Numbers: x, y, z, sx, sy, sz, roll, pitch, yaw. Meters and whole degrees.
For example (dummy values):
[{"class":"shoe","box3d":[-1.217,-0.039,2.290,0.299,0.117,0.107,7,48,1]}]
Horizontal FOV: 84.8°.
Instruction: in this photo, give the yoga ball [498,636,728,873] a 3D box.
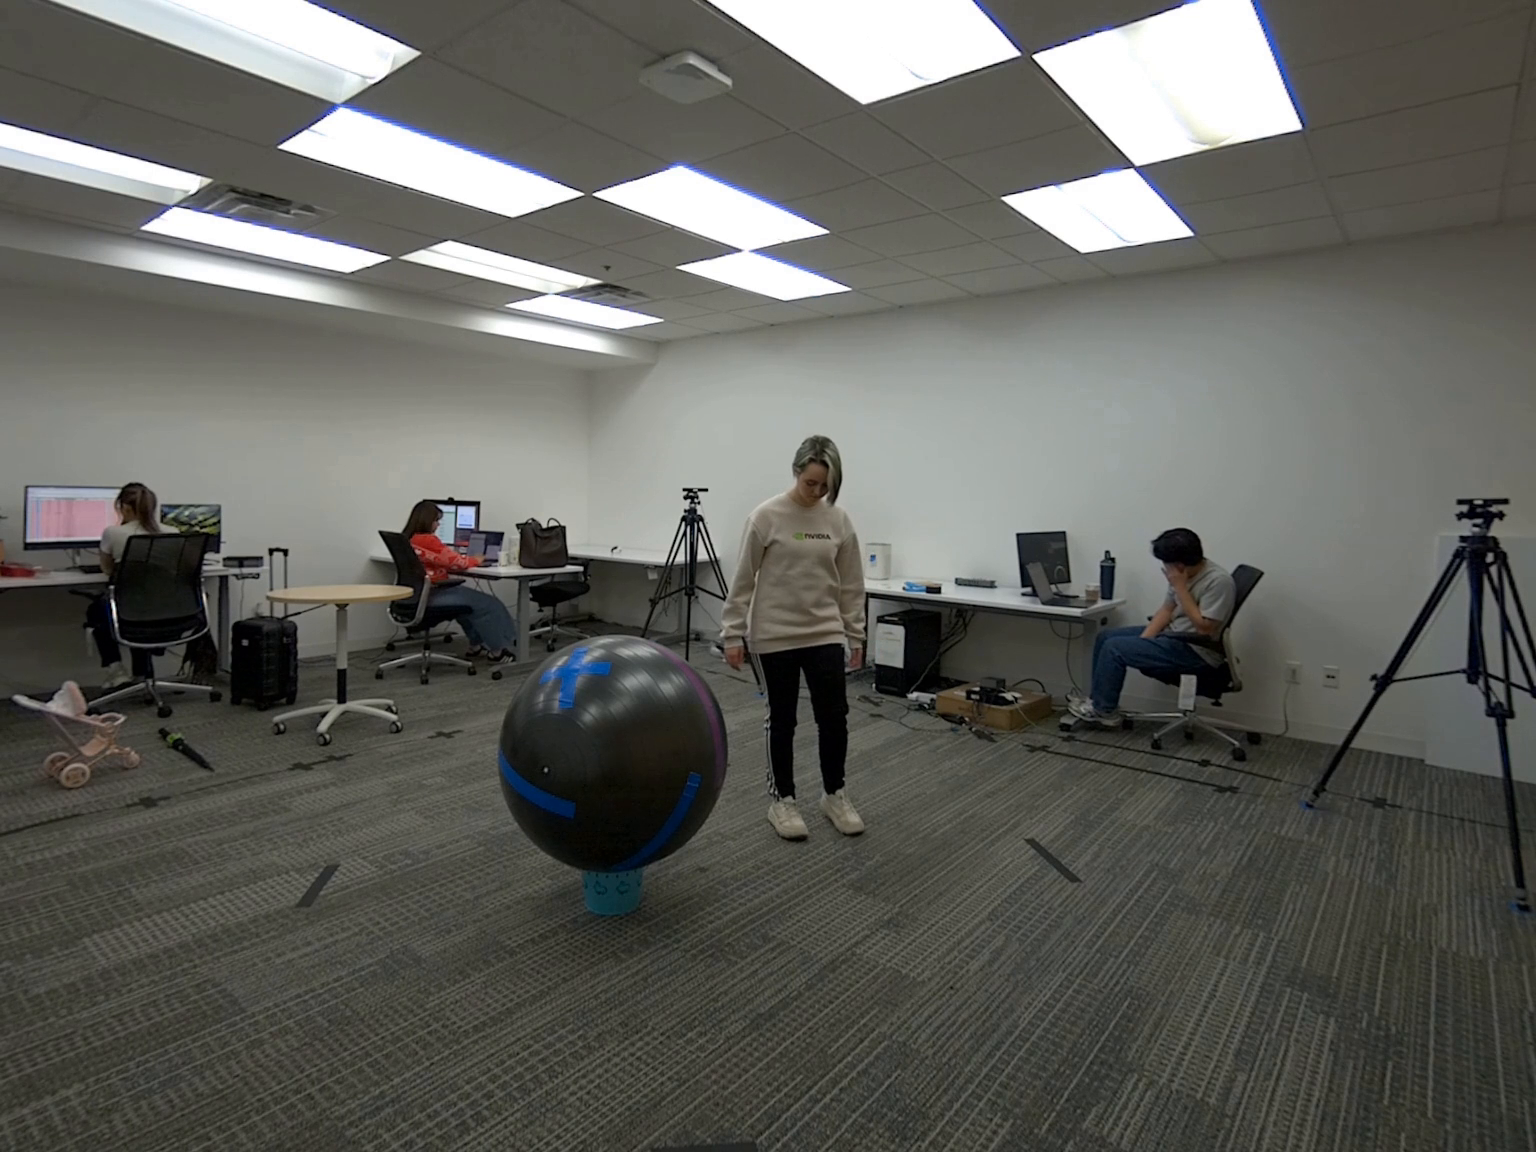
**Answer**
[{"class":"yoga ball","box3d":[-0.516,0.579,2.826,0.757,0.756,0.761,1,4,-2]}]
